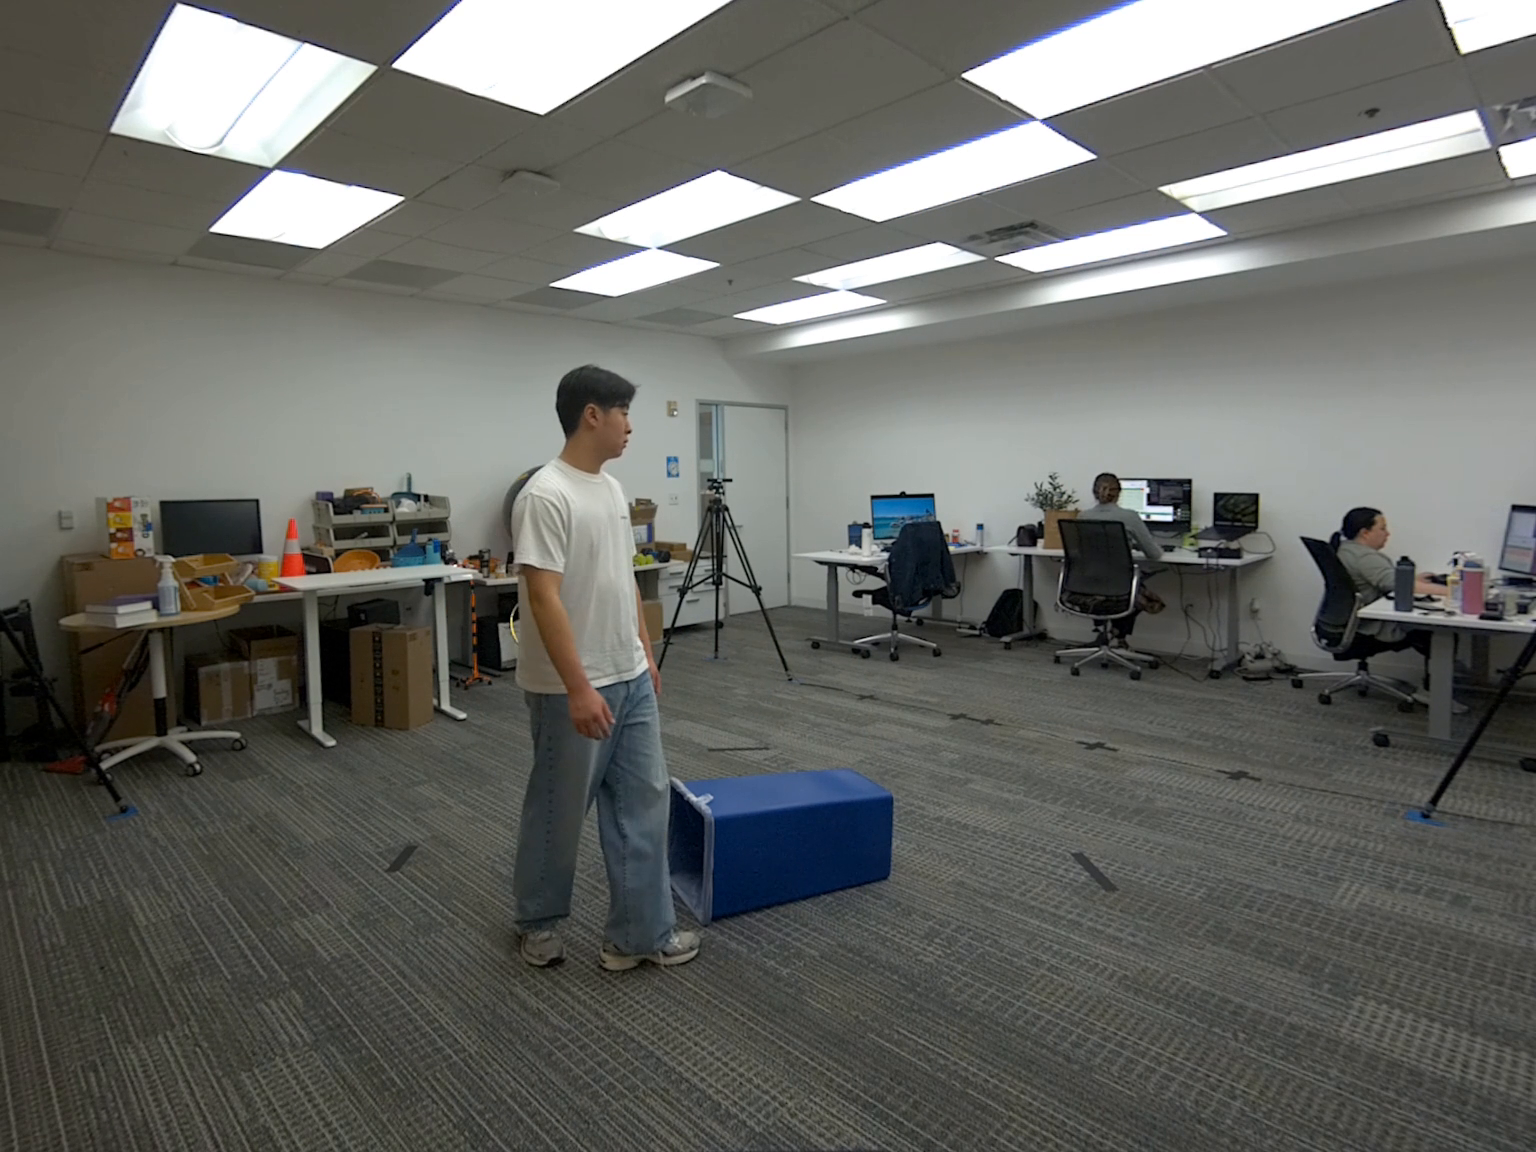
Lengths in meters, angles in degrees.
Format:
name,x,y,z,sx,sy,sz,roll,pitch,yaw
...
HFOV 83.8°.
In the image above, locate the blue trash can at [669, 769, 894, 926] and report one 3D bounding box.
name,x,y,z,sx,sy,sz,roll,pitch,yaw
blue trash can,0.046,0.896,2.961,0.698,0.377,0.383,-1,5,-25
